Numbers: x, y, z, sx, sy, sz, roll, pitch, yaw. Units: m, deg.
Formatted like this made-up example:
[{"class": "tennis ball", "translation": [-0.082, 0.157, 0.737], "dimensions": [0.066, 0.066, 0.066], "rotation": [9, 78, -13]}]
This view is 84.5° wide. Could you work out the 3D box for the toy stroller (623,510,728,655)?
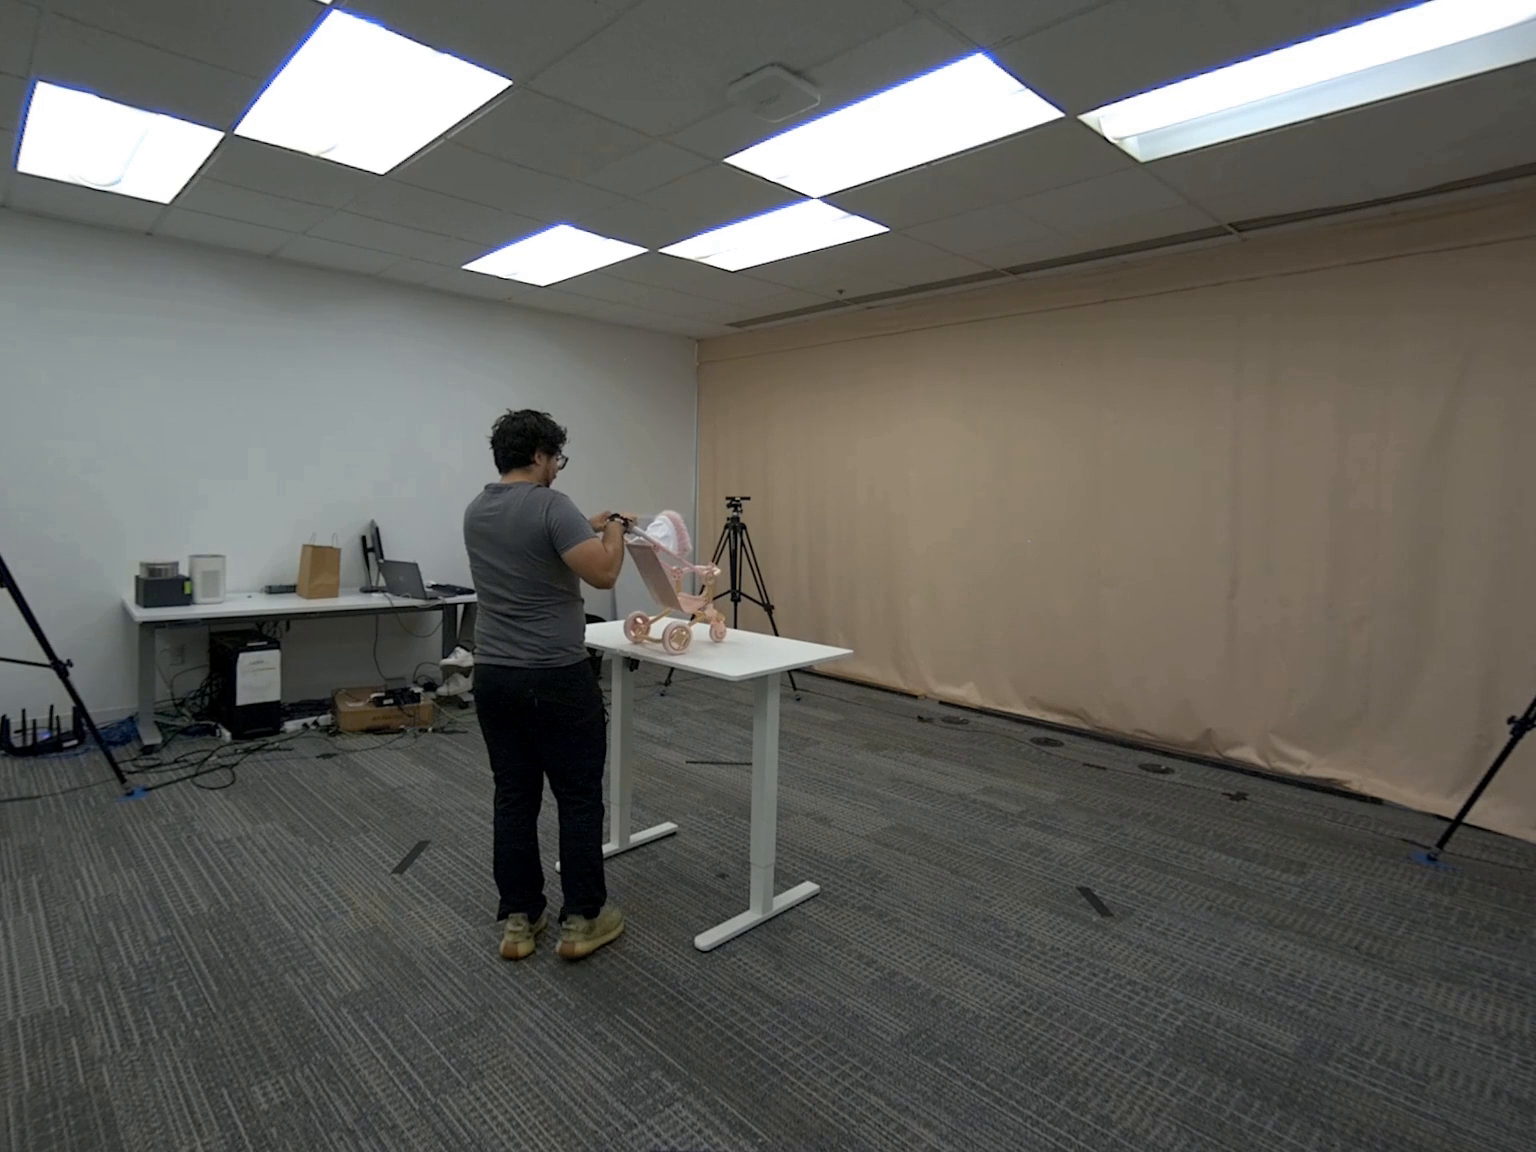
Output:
[{"class": "toy stroller", "translation": [-0.324, 0.020, 2.848], "dimensions": [0.336, 0.529, 0.288], "rotation": [-19, 14, -33]}]
